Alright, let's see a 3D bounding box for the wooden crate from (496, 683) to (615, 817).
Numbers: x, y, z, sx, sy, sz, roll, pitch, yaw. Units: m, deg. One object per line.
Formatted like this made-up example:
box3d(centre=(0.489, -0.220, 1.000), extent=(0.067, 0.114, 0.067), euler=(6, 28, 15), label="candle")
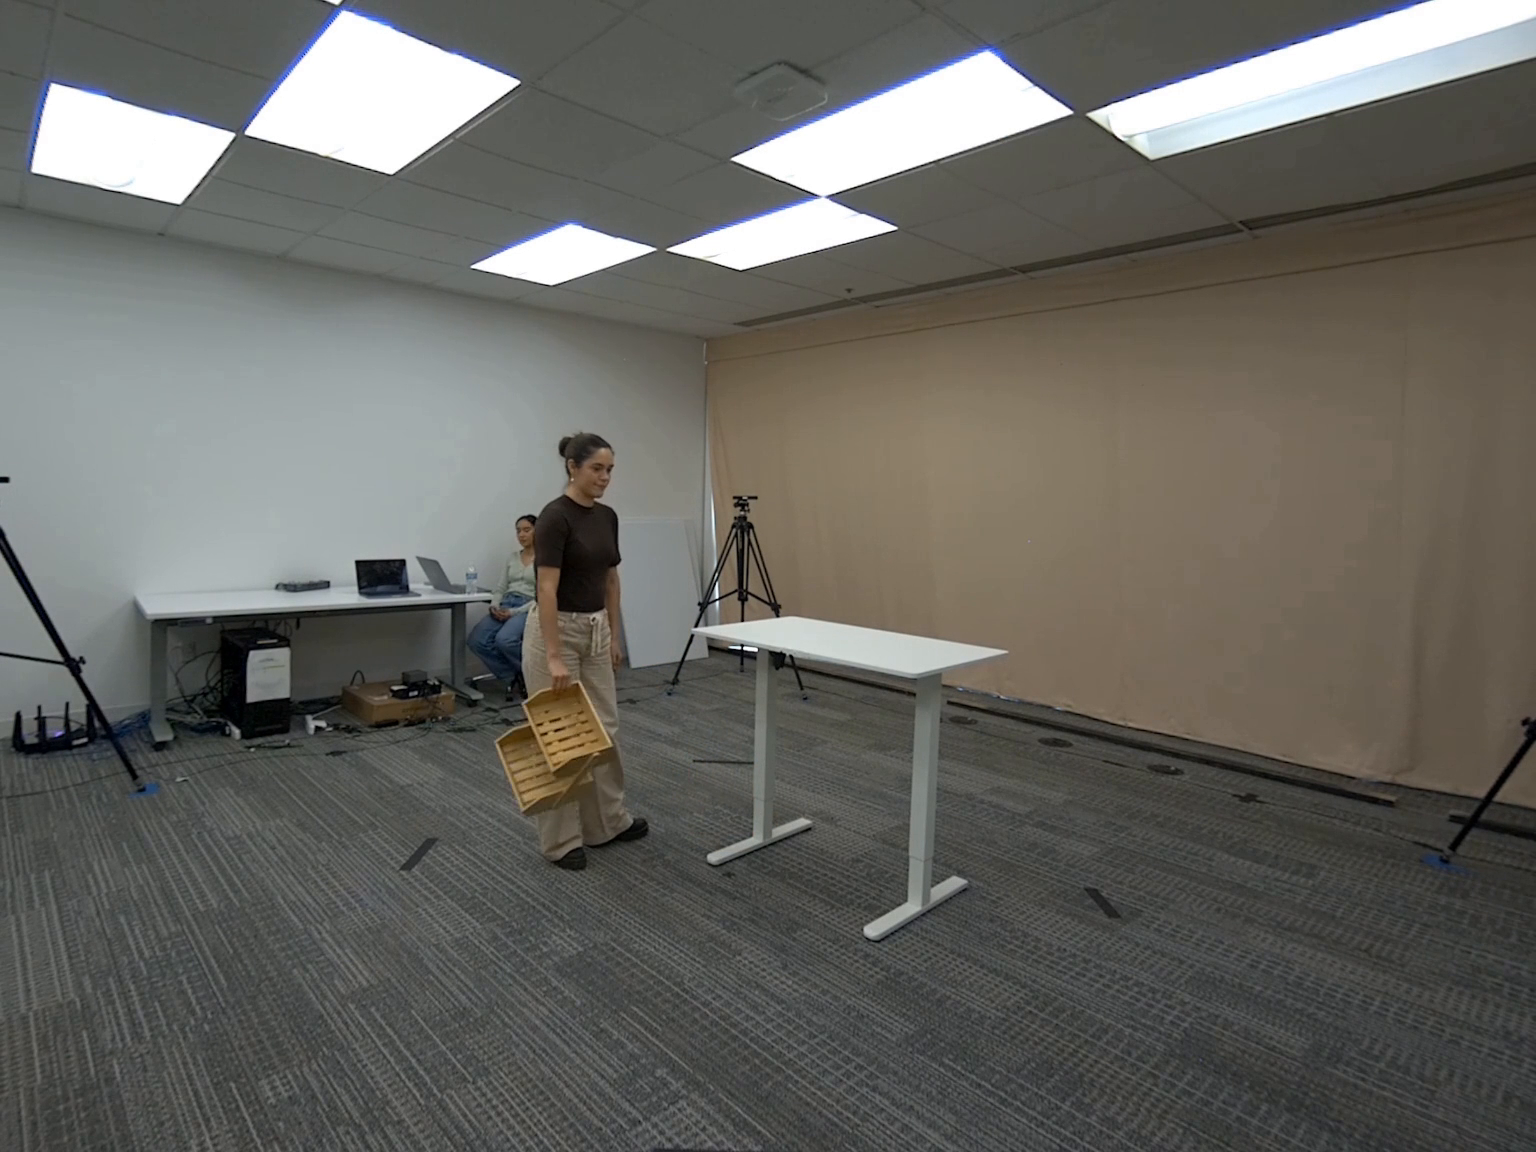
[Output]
box3d(centre=(-0.750, 0.586, 2.891), extent=(0.297, 0.269, 0.335), euler=(-10, 45, -31), label="wooden crate")
